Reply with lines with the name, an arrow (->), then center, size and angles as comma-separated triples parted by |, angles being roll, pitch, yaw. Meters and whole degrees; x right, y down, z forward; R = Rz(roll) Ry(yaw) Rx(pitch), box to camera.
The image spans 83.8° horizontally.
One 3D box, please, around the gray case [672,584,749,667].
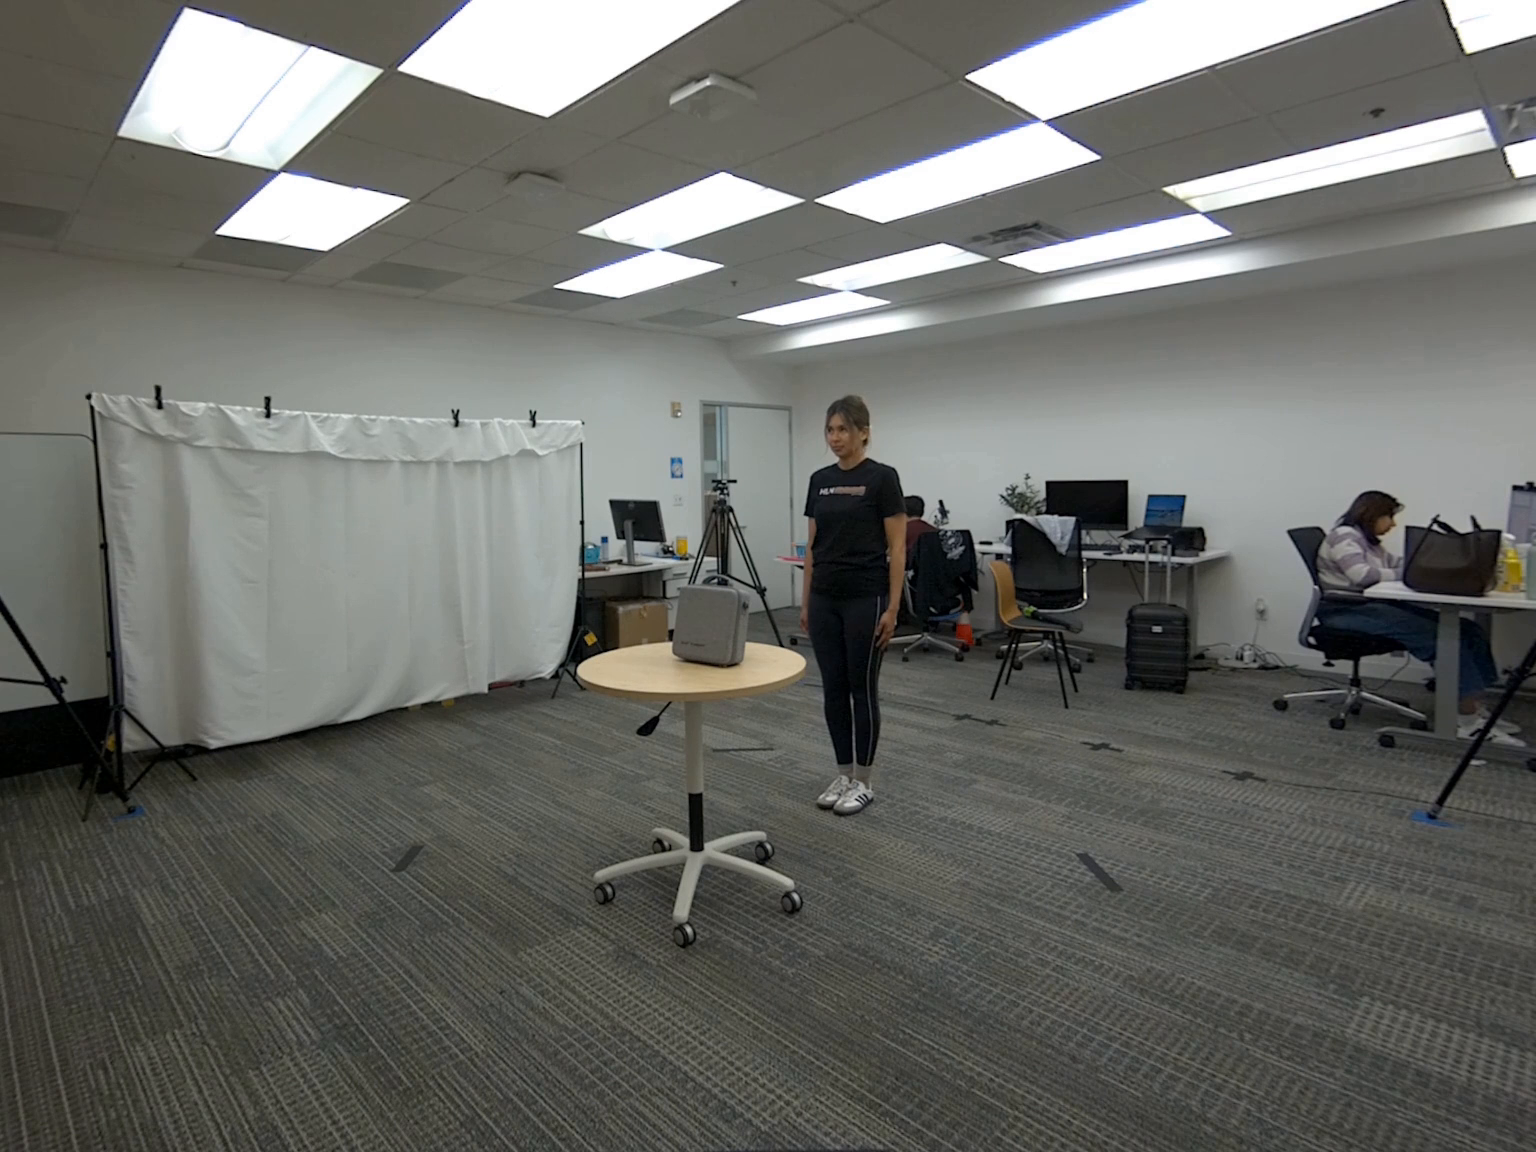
gray case -> -0.192, 0.158, 2.891 | 0.264, 0.262, 0.101 | 4, -6, 36
